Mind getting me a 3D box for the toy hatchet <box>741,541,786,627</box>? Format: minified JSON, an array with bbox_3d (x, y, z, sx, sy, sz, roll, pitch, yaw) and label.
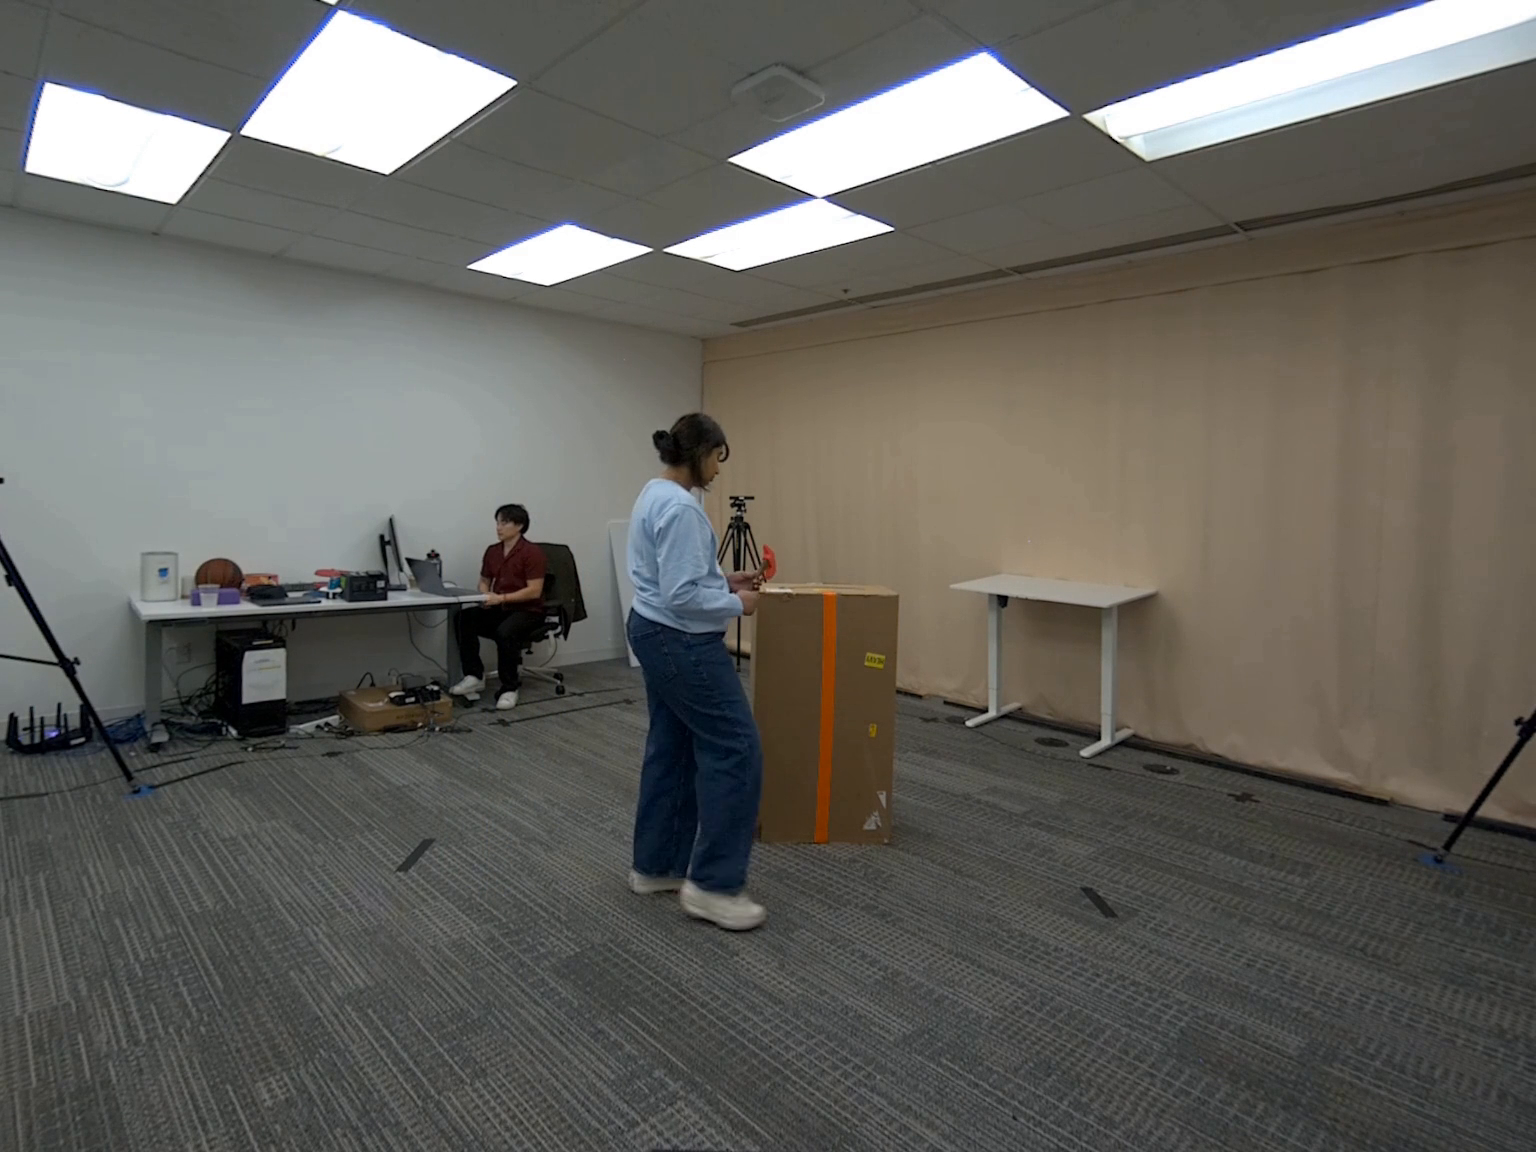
[{"bbox_3d":[-0.034,0.024,2.955,0.030,0.272,0.127,8,-32,35],"label":"toy hatchet"}]
